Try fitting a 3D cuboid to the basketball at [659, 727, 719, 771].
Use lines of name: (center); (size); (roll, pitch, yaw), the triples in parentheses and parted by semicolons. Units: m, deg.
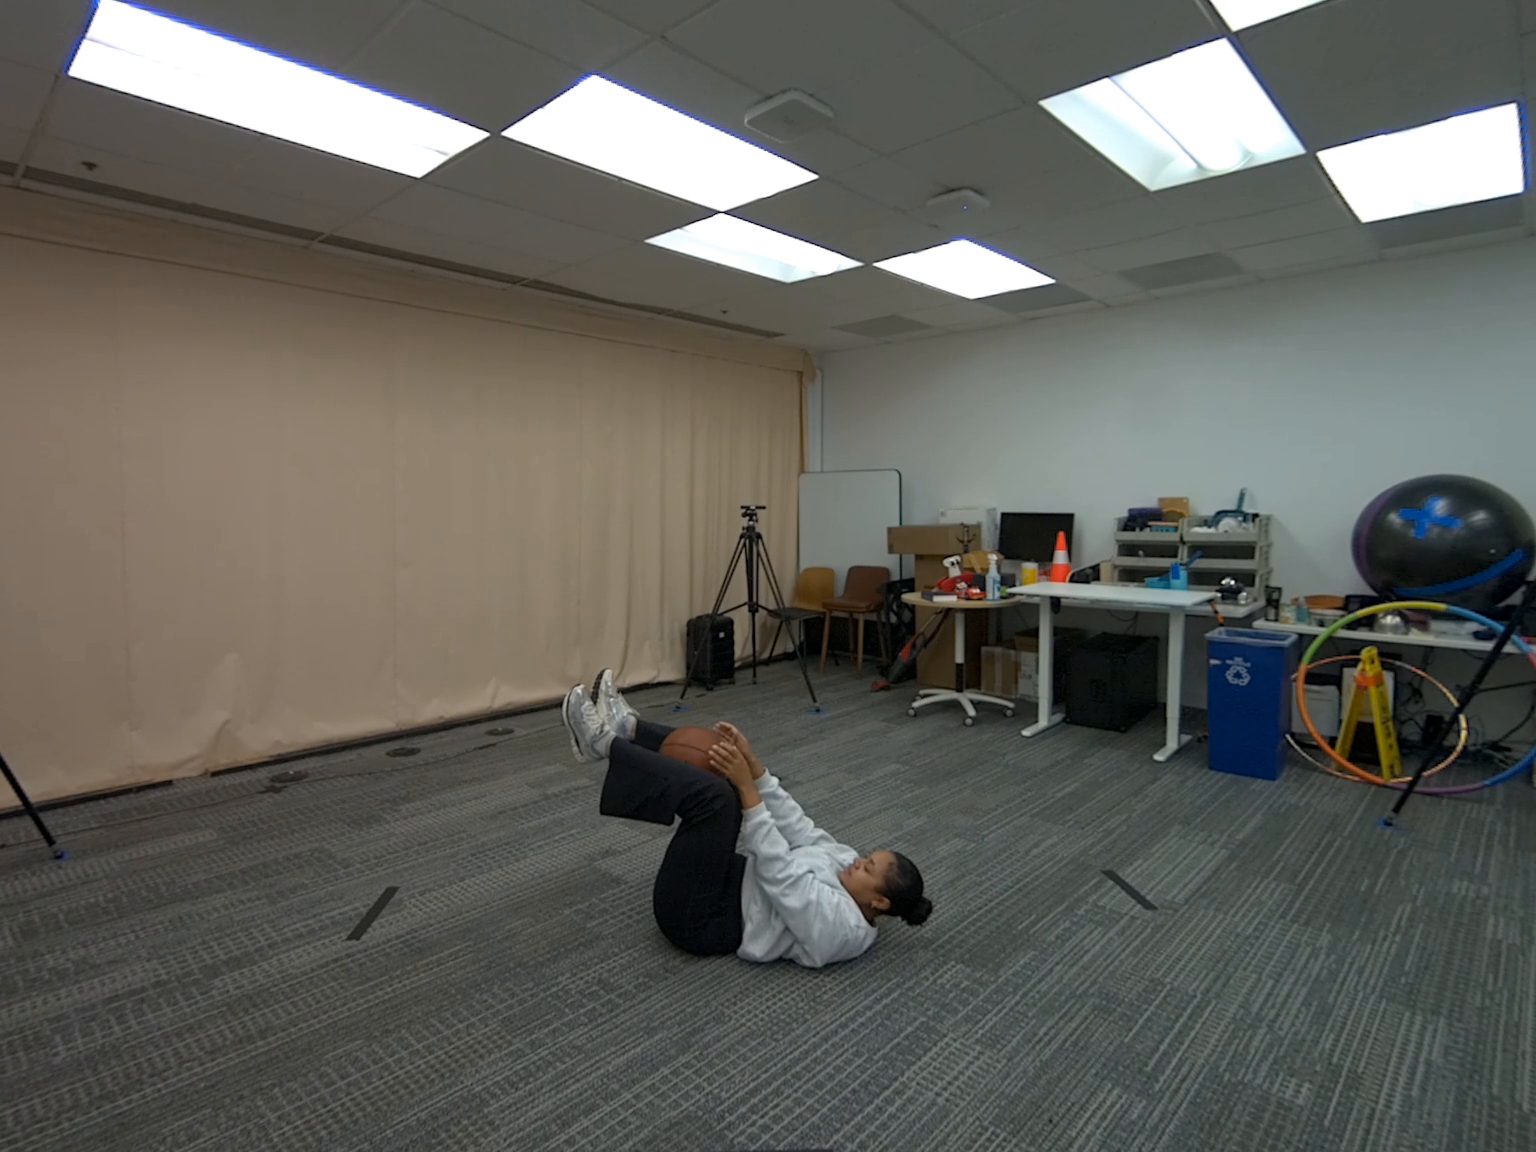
basketball: (-0.234, 0.603, 2.726); (0.235, 0.235, 0.237); (1, 4, -2)
